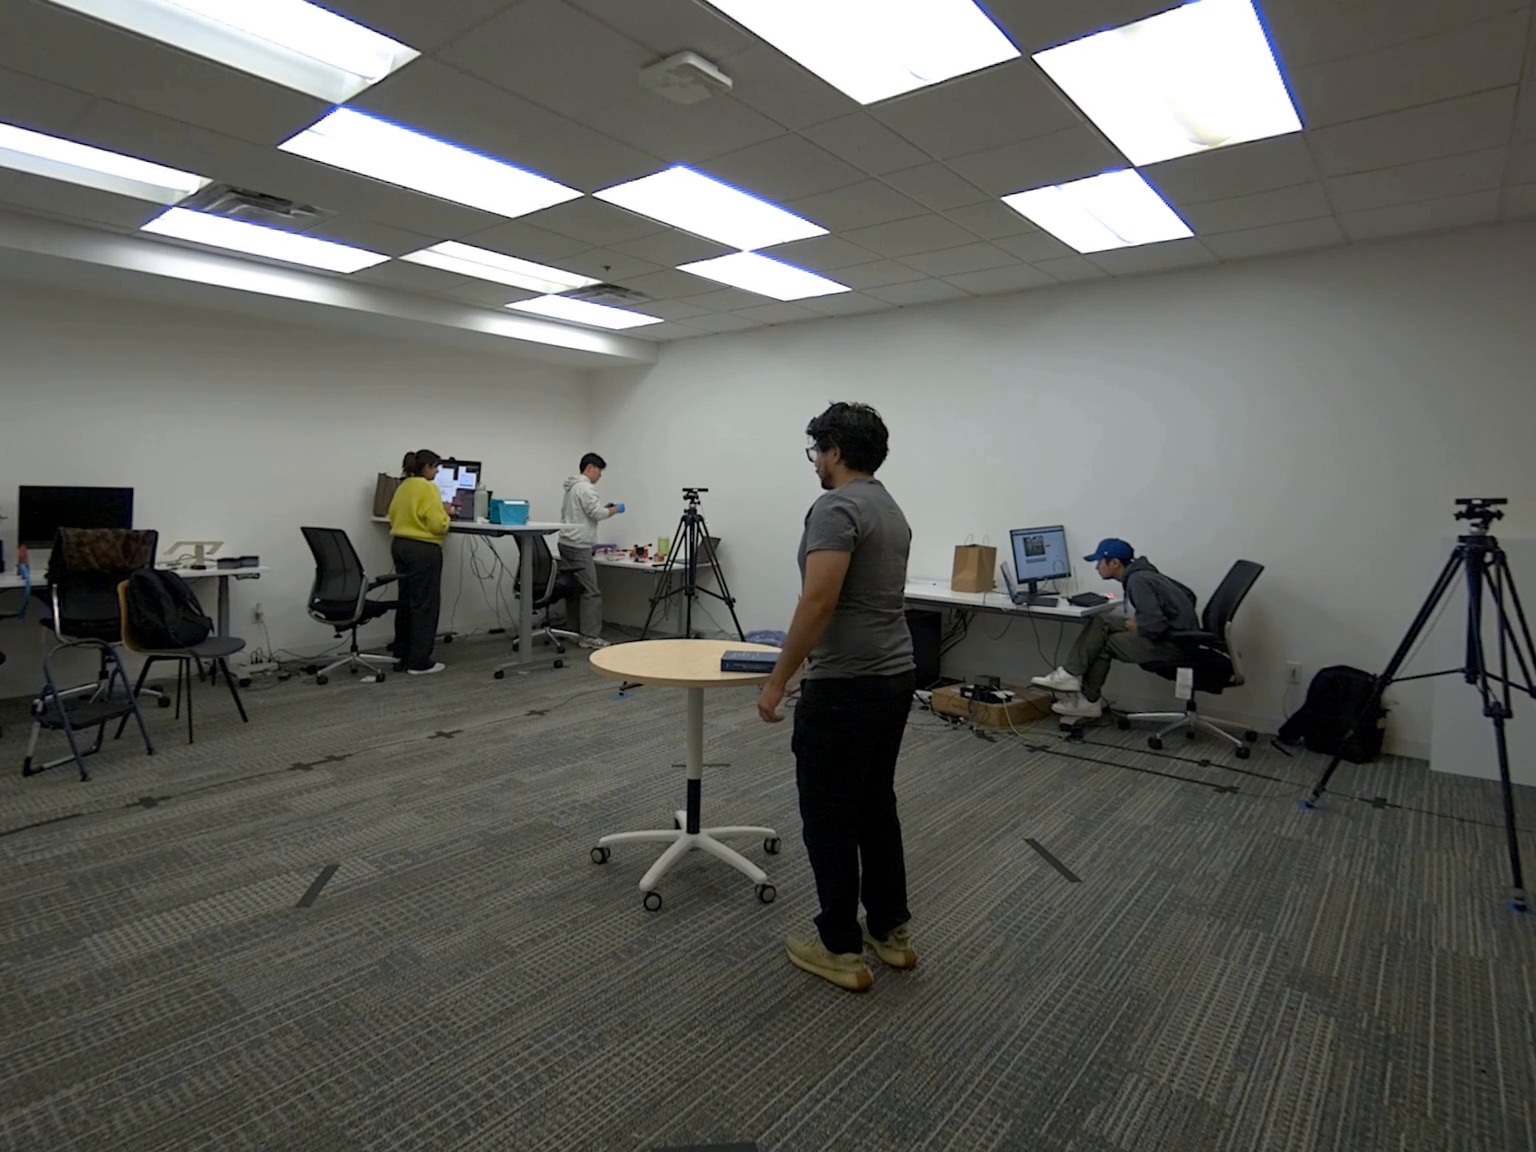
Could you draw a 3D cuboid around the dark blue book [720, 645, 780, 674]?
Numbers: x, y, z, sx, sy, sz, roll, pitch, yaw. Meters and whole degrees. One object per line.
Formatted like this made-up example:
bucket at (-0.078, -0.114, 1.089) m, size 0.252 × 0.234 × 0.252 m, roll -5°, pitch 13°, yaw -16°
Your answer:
dark blue book at (-0.048, 0.289, 2.886) m, size 0.247 × 0.045 × 0.163 m, roll 1°, pitch 4°, yaw 5°
